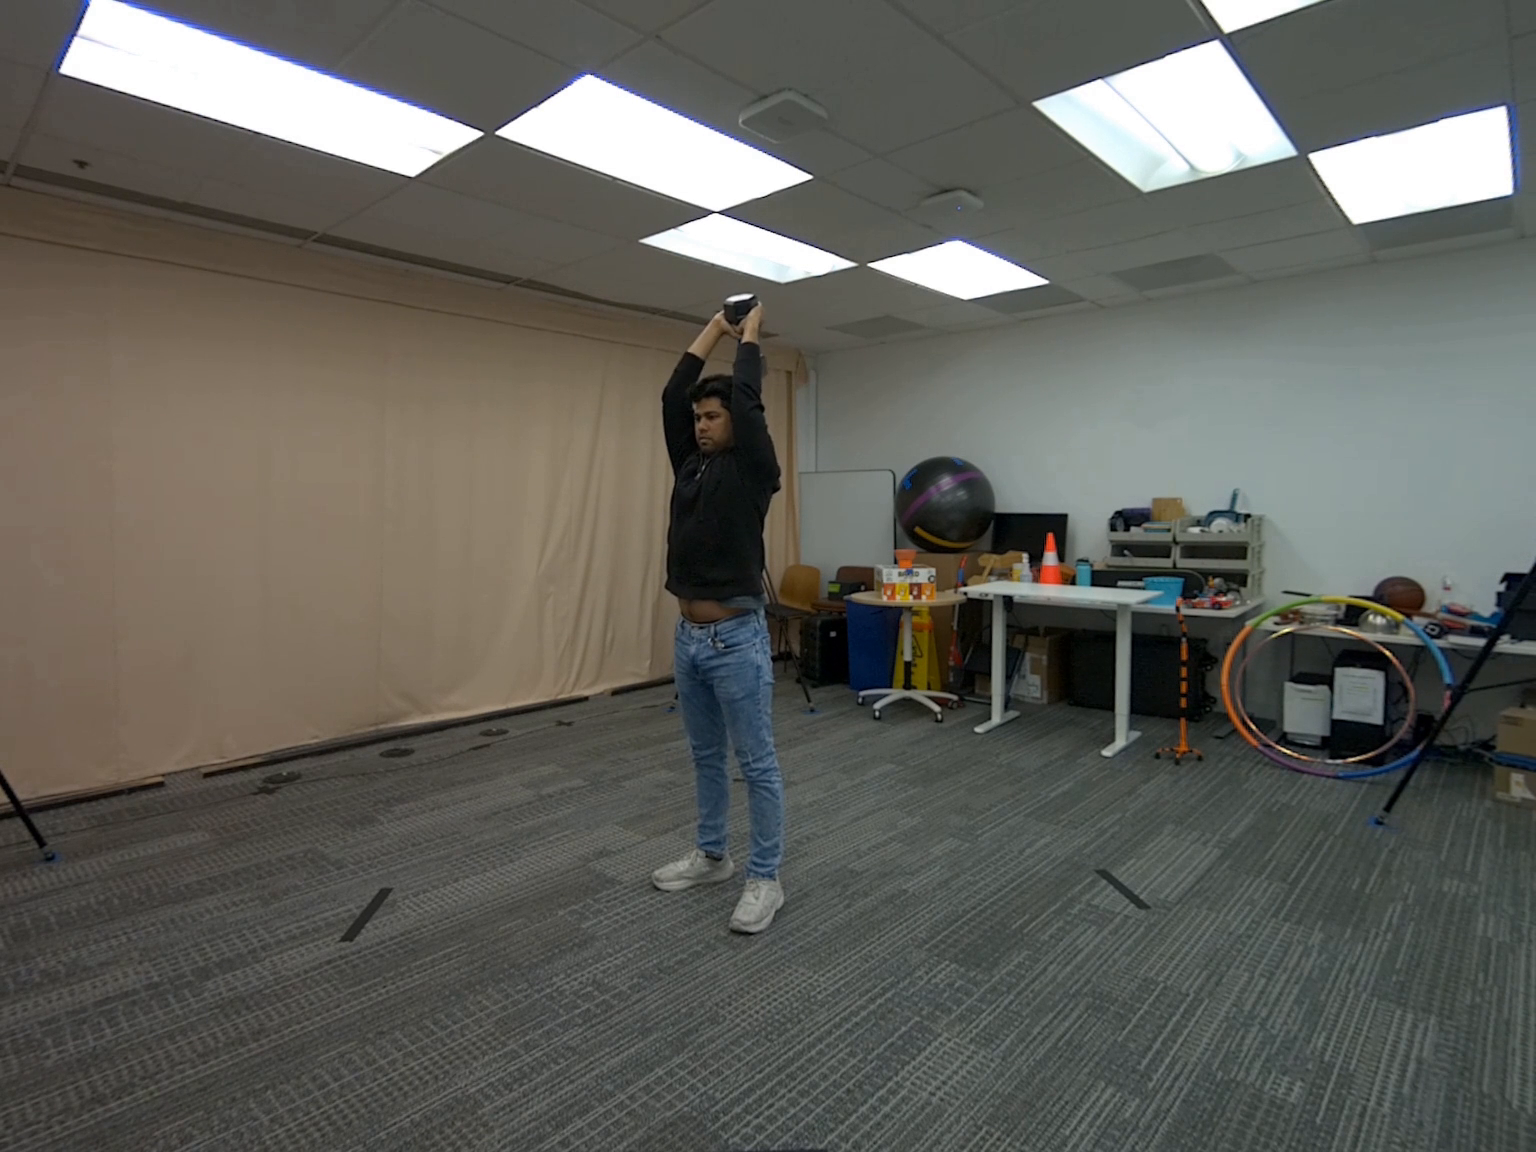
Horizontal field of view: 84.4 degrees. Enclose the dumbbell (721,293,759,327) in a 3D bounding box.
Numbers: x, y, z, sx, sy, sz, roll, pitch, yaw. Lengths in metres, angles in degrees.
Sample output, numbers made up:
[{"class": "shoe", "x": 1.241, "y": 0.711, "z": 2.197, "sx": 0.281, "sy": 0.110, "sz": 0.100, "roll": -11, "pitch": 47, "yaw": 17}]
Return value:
[{"class": "dumbbell", "x": -0.076, "y": -0.831, "z": 2.977, "sx": 0.107, "sy": 0.288, "sz": 0.127, "roll": -22, "pitch": 30, "yaw": -27}]
